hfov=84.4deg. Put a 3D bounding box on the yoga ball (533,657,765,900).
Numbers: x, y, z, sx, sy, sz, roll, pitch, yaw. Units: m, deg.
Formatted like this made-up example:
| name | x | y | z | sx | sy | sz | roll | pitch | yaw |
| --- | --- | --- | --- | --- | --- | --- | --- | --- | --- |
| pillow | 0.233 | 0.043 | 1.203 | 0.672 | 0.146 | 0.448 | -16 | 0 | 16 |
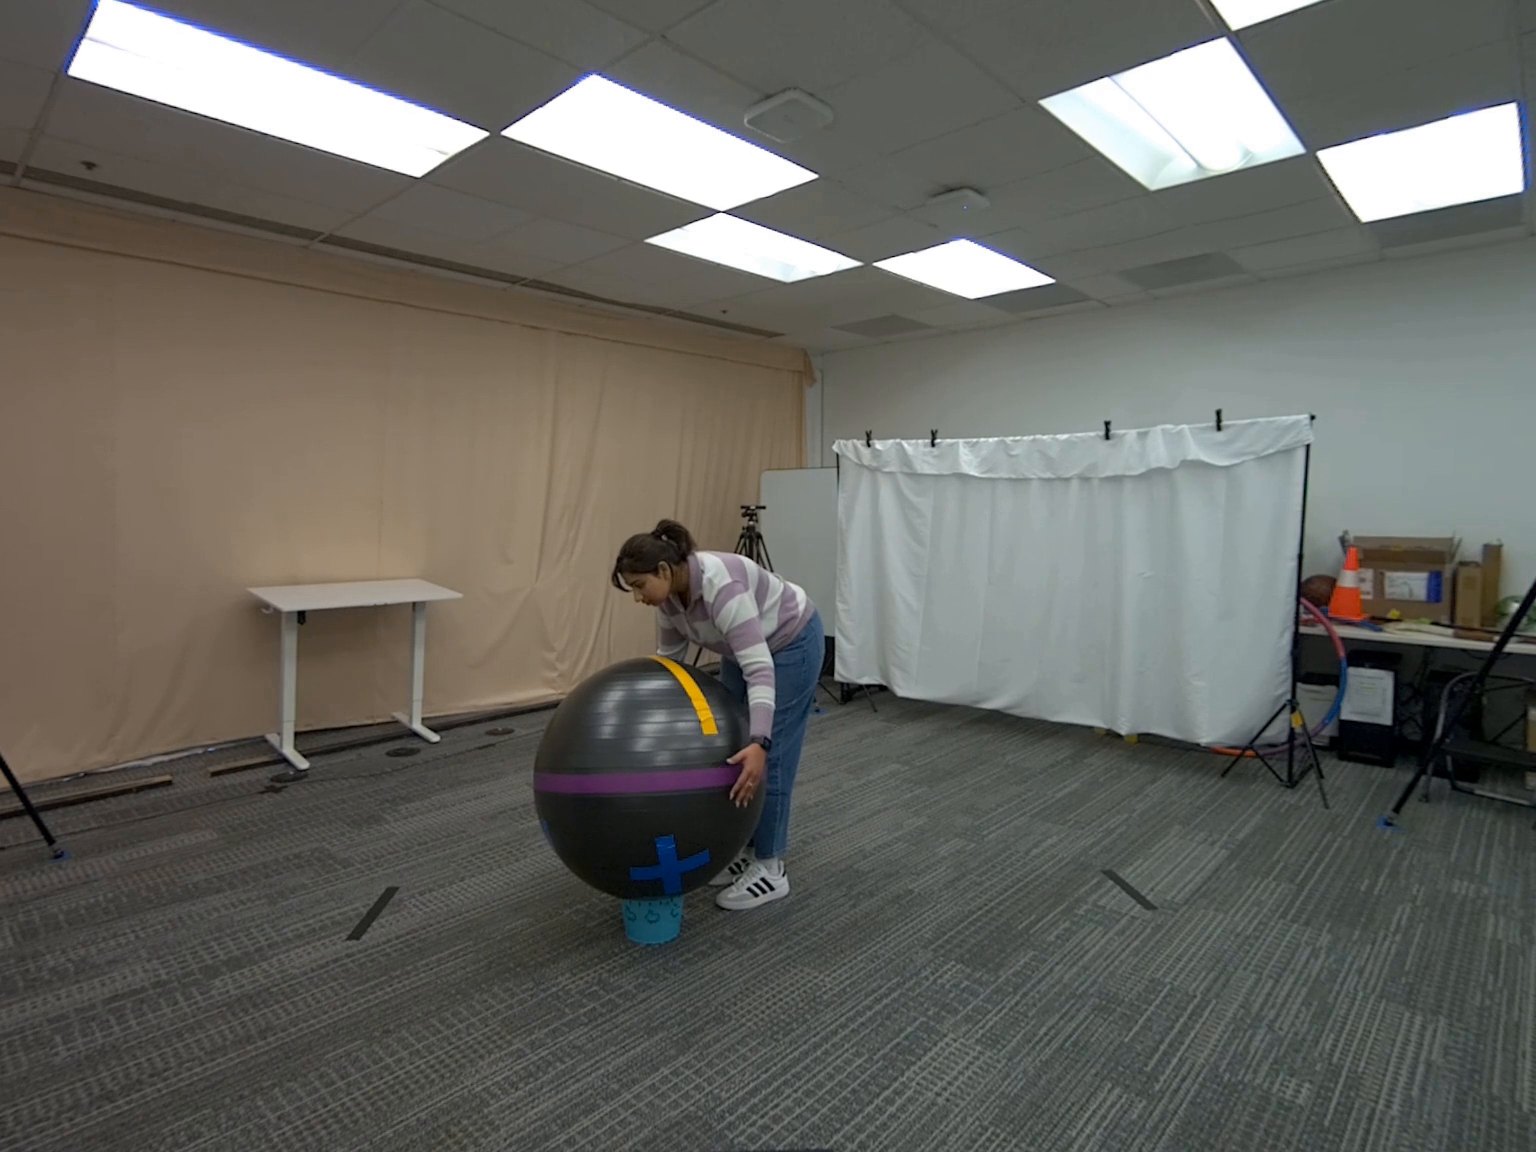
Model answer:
| name | x | y | z | sx | sy | sz | roll | pitch | yaw |
| --- | --- | --- | --- | --- | --- | --- | --- | --- | --- |
| yoga ball | -0.401 | 0.657 | 2.738 | 0.757 | 0.756 | 0.761 | 0 | 4 | -2 |
